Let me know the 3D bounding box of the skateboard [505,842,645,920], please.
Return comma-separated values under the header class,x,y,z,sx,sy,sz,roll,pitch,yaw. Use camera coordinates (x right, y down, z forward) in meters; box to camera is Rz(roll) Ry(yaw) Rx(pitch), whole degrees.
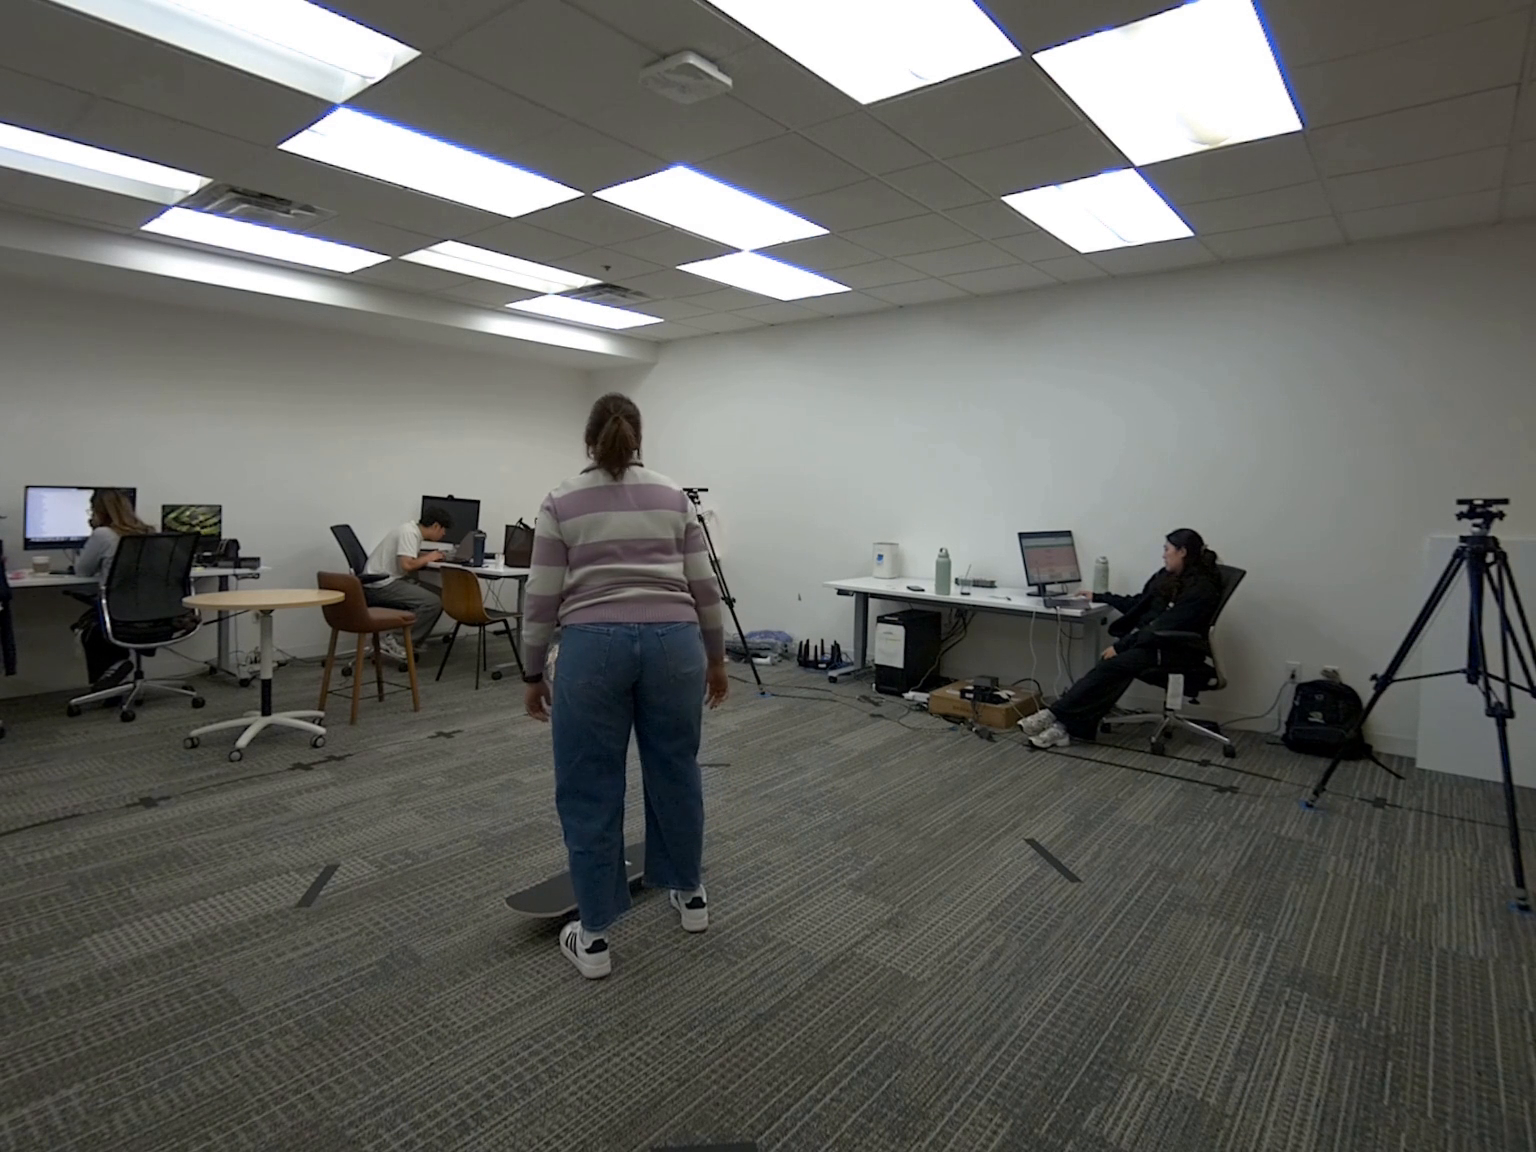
class,x,y,z,sx,sy,sz,roll,pitch,yaw
skateboard,-0.554,1.033,2.877,0.200,0.110,0.762,5,6,38
